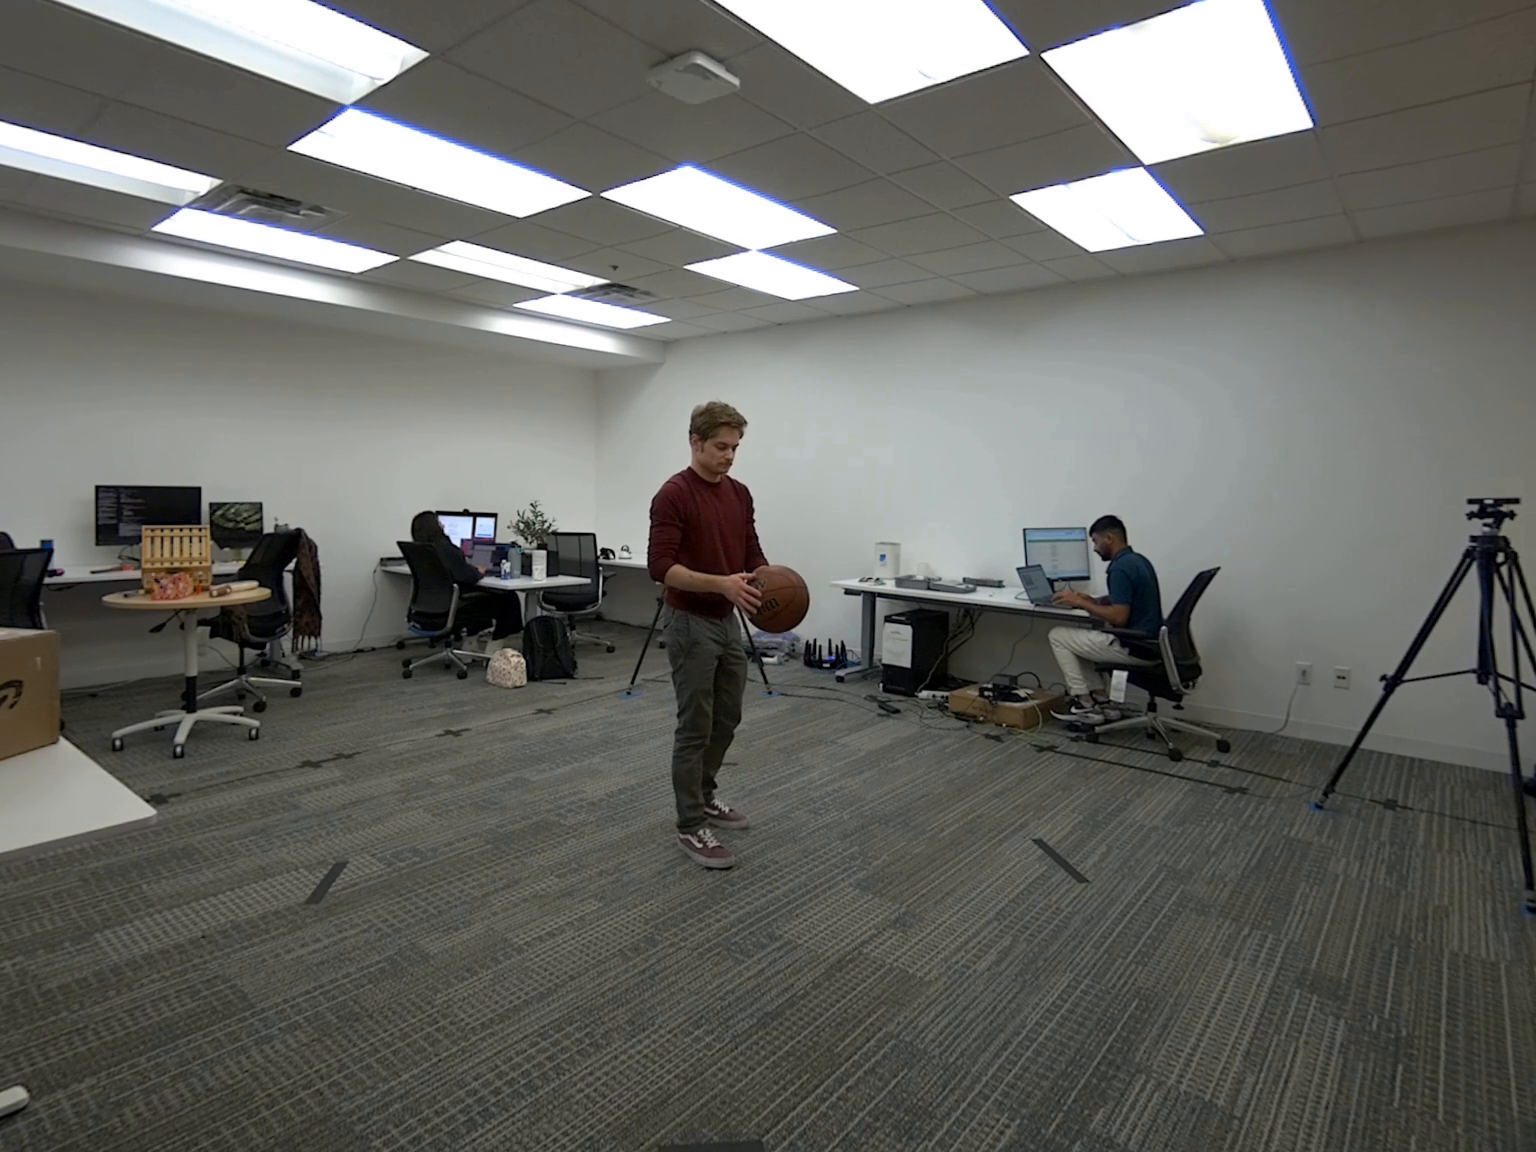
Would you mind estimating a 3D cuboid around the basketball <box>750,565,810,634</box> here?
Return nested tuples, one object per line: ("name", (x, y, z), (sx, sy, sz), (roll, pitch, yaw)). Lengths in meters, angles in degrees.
("basketball", (0.023, 0.079, 2.989), (0.235, 0.235, 0.237), (1, 4, -2))
